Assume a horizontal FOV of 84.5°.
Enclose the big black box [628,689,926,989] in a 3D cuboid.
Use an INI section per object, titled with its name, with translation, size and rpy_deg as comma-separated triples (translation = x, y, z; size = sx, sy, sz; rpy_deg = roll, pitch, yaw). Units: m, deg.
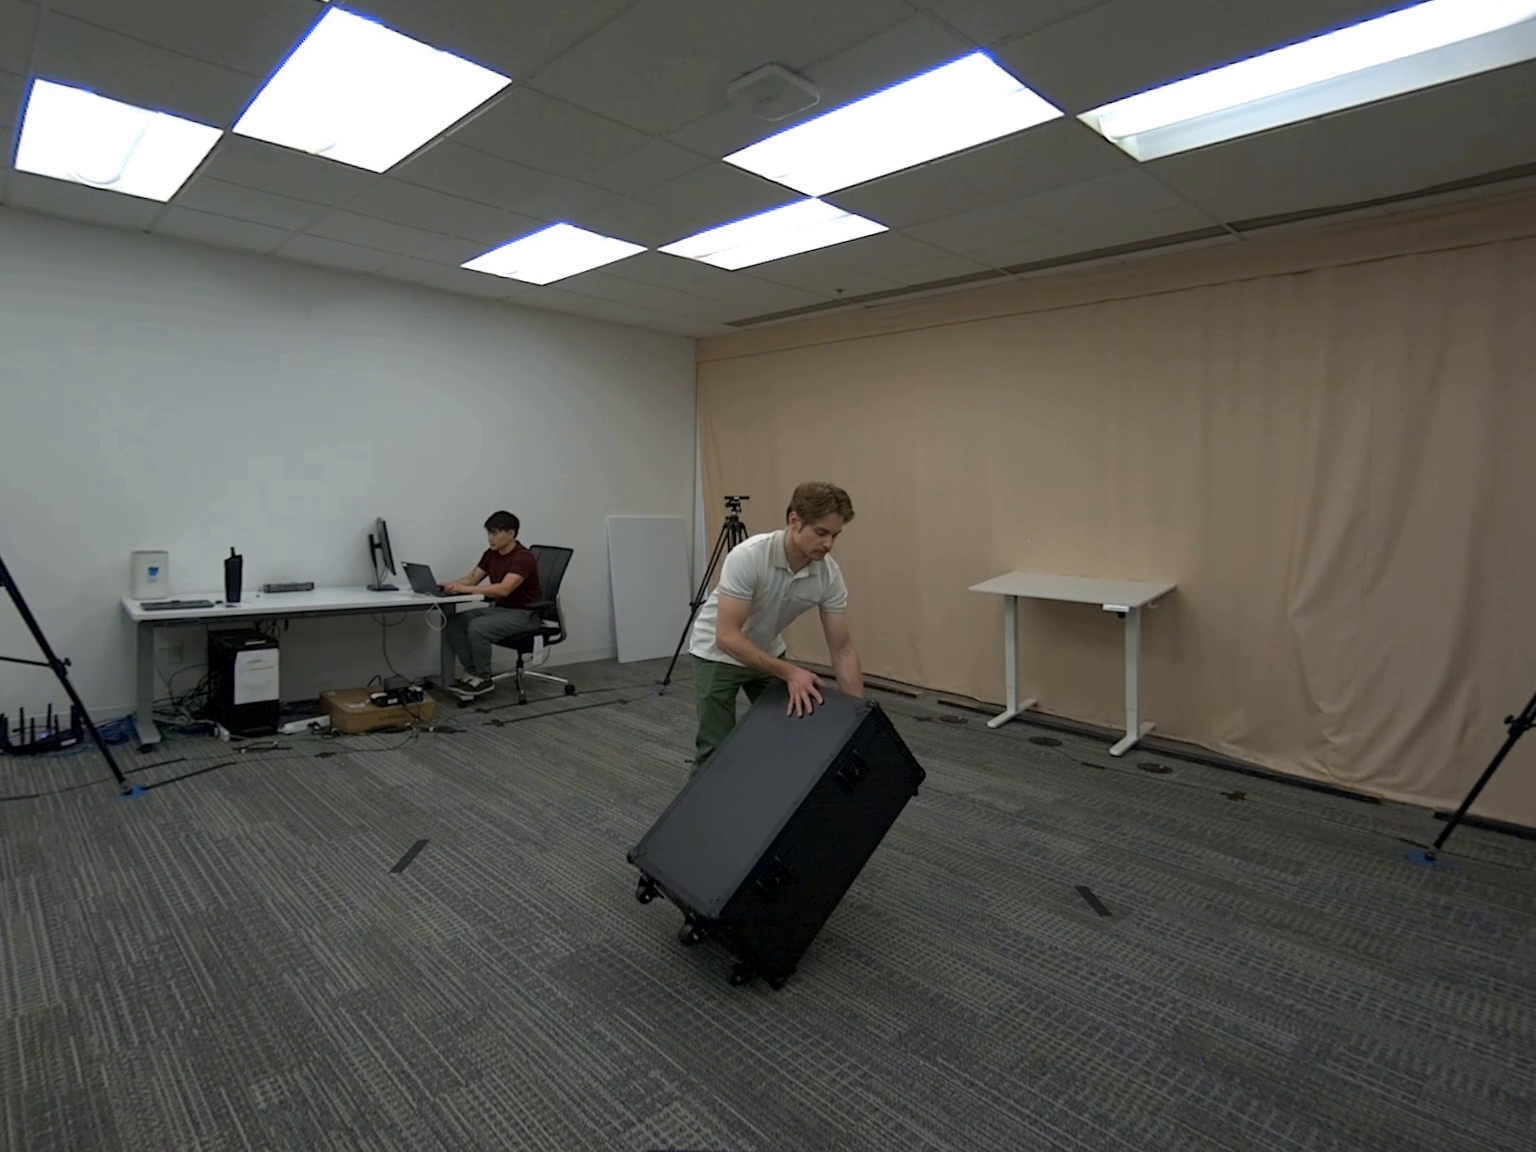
[big black box]
translation = 0.006, 0.783, 2.627
size = 0.868, 0.375, 0.537
rpy_deg = -48, 30, -22
